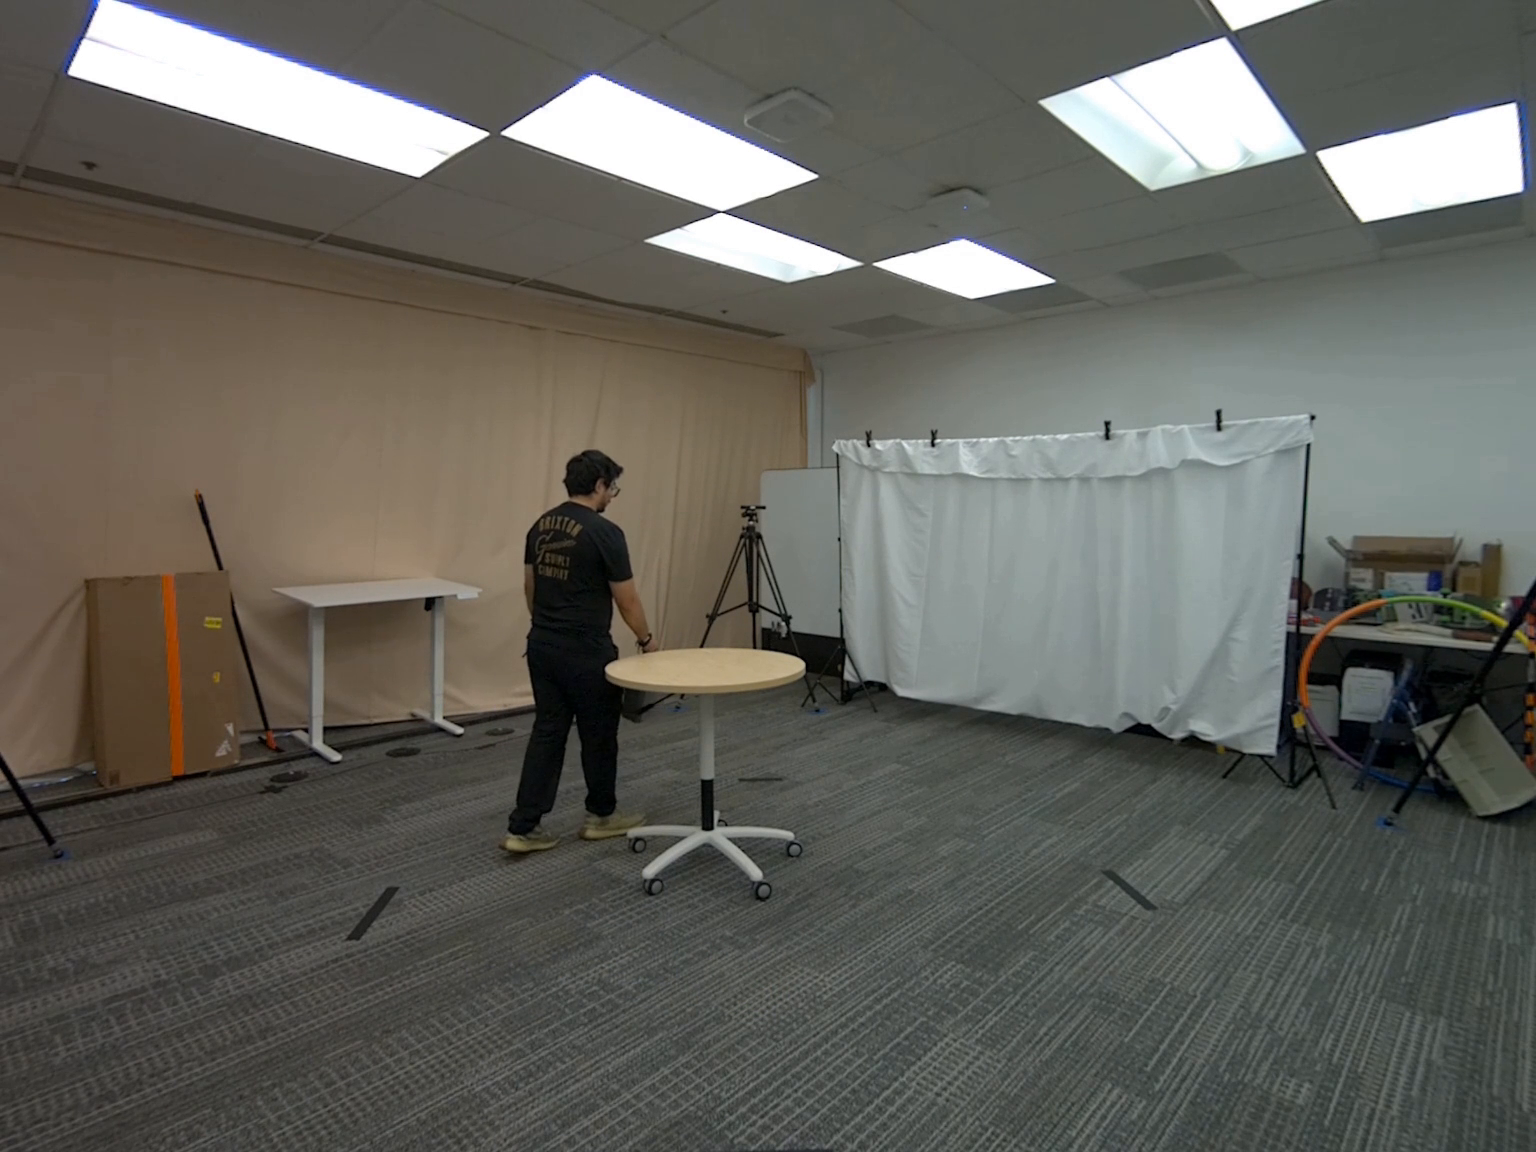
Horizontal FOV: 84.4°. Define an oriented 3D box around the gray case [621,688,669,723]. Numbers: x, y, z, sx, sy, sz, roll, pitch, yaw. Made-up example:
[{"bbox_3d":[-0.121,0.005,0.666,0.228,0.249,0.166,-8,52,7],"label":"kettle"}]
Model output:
[{"bbox_3d":[-0.536,0.487,3.671,0.107,0.259,0.252,13,9,19],"label":"gray case"}]
